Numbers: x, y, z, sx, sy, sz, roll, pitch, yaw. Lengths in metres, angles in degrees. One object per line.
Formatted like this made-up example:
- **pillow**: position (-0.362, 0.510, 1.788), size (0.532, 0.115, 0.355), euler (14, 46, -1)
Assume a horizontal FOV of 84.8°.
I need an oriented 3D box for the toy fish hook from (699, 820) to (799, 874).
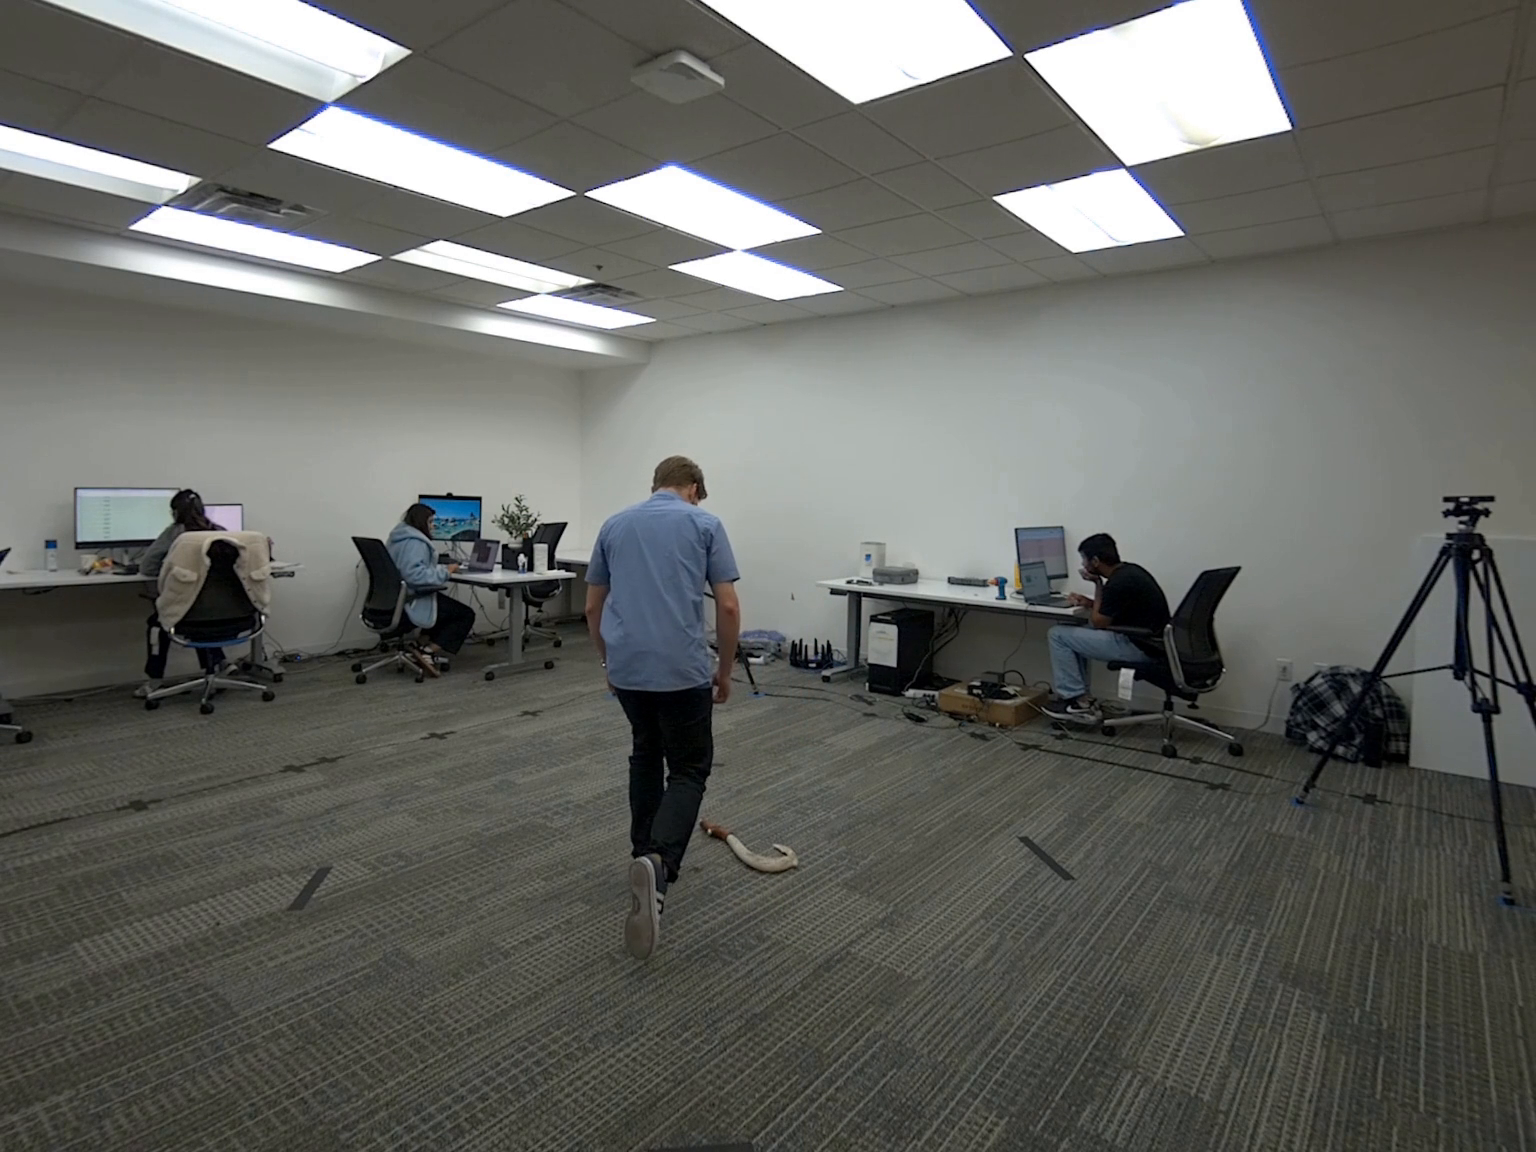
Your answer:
- **toy fish hook**: position (-0.087, 1.038, 3.314), size (0.217, 0.048, 0.524), euler (8, 1, -36)
